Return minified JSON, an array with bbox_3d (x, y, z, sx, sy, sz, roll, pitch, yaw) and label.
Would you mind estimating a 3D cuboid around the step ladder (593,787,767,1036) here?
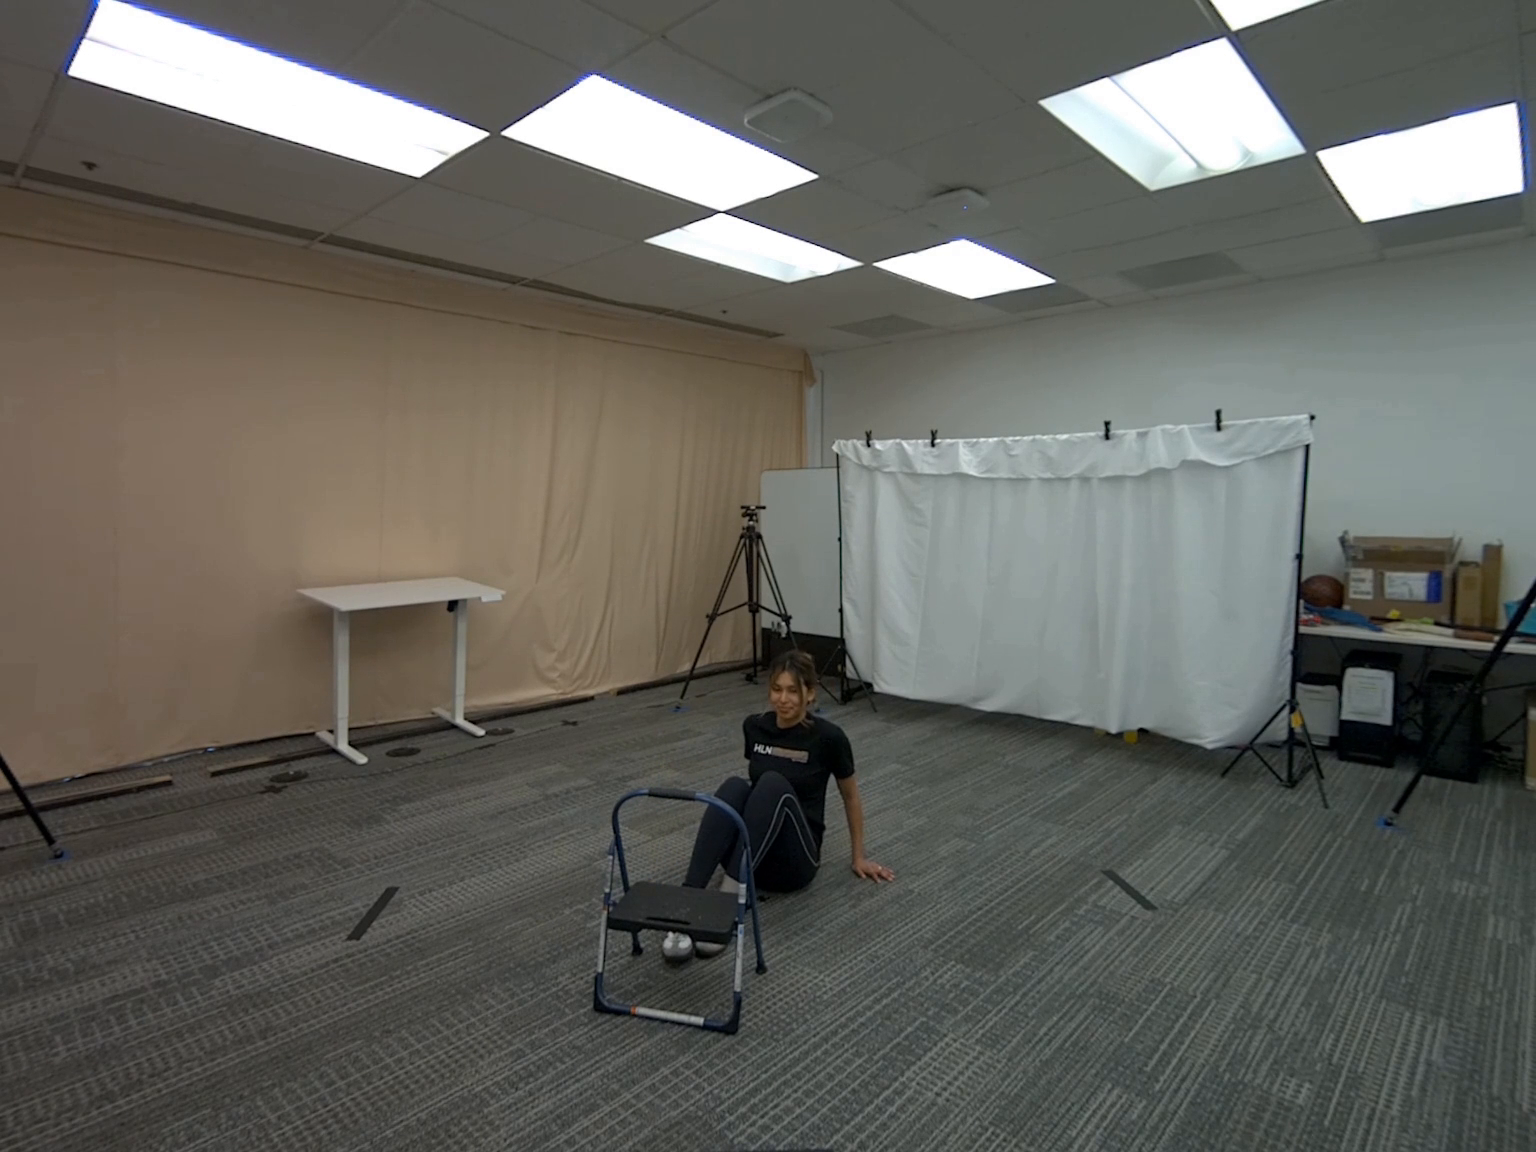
[{"bbox_3d":[-0.250,0.891,2.408,0.437,0.605,0.344,1,3,13],"label":"step ladder"}]
